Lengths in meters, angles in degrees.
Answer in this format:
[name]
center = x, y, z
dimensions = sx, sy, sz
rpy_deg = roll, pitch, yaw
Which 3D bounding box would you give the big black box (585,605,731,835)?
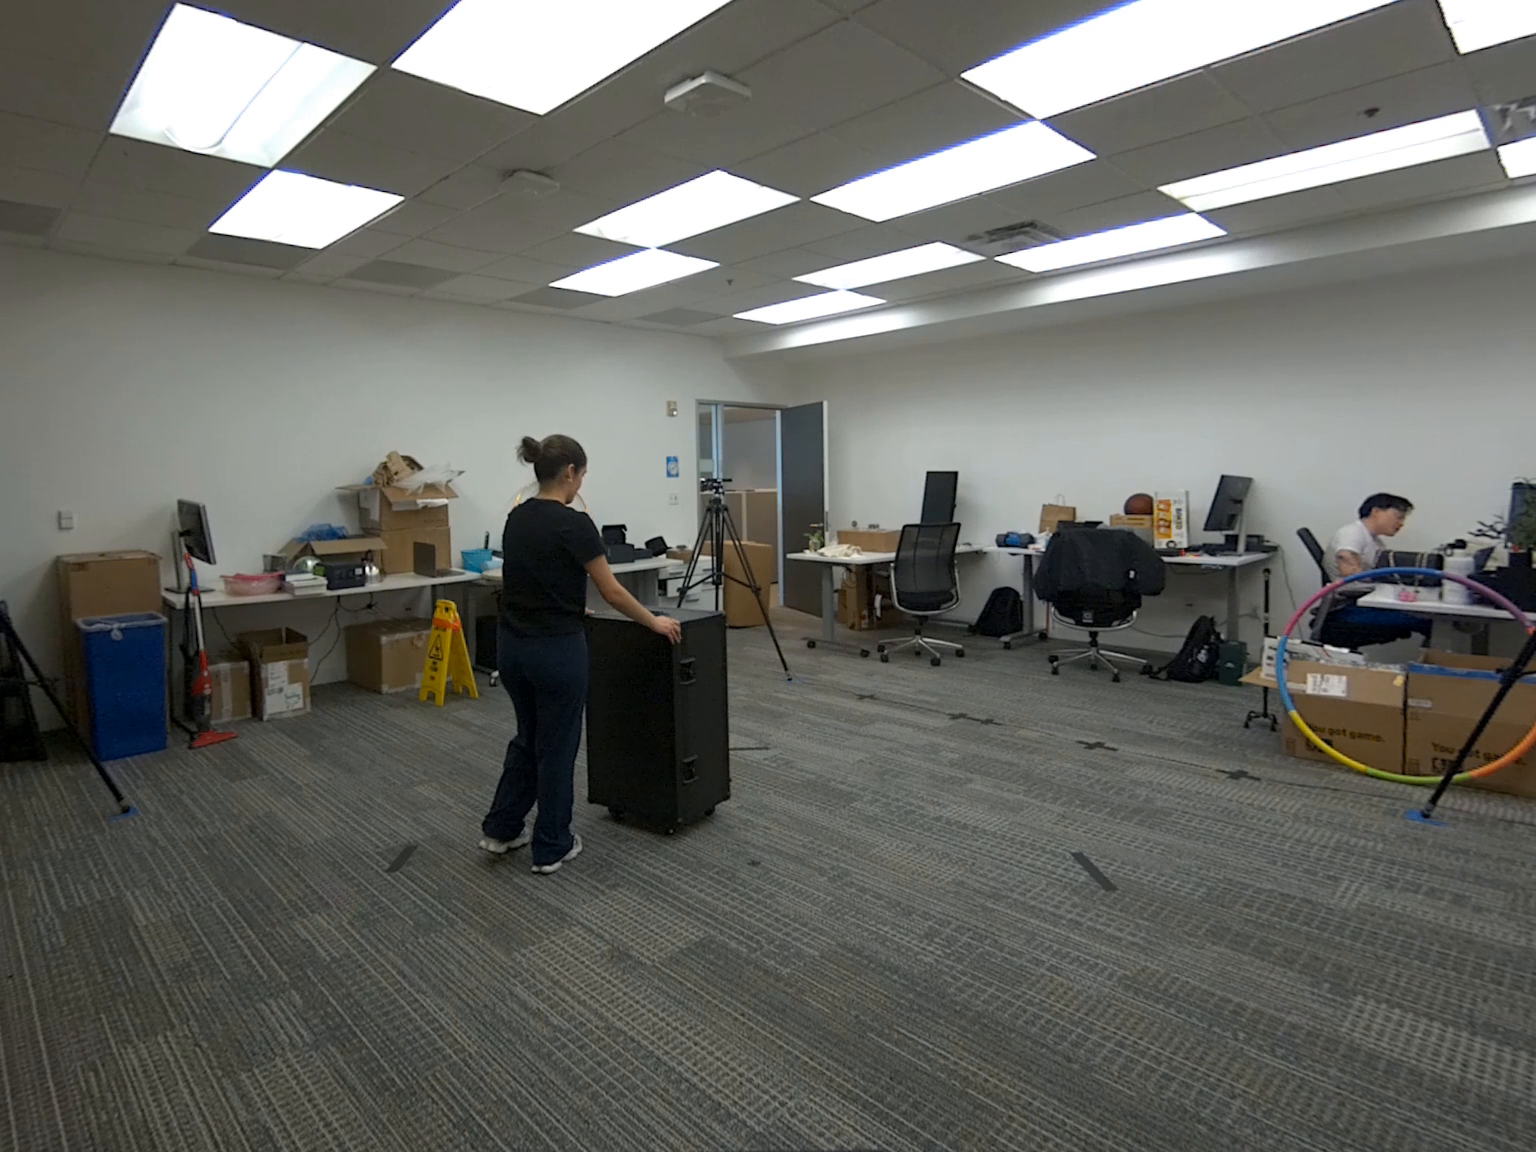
[big black box]
center = -0.458, 0.574, 3.553
dimensions = 0.536, 0.859, 0.386
rpy_deg = 1, 4, 35
